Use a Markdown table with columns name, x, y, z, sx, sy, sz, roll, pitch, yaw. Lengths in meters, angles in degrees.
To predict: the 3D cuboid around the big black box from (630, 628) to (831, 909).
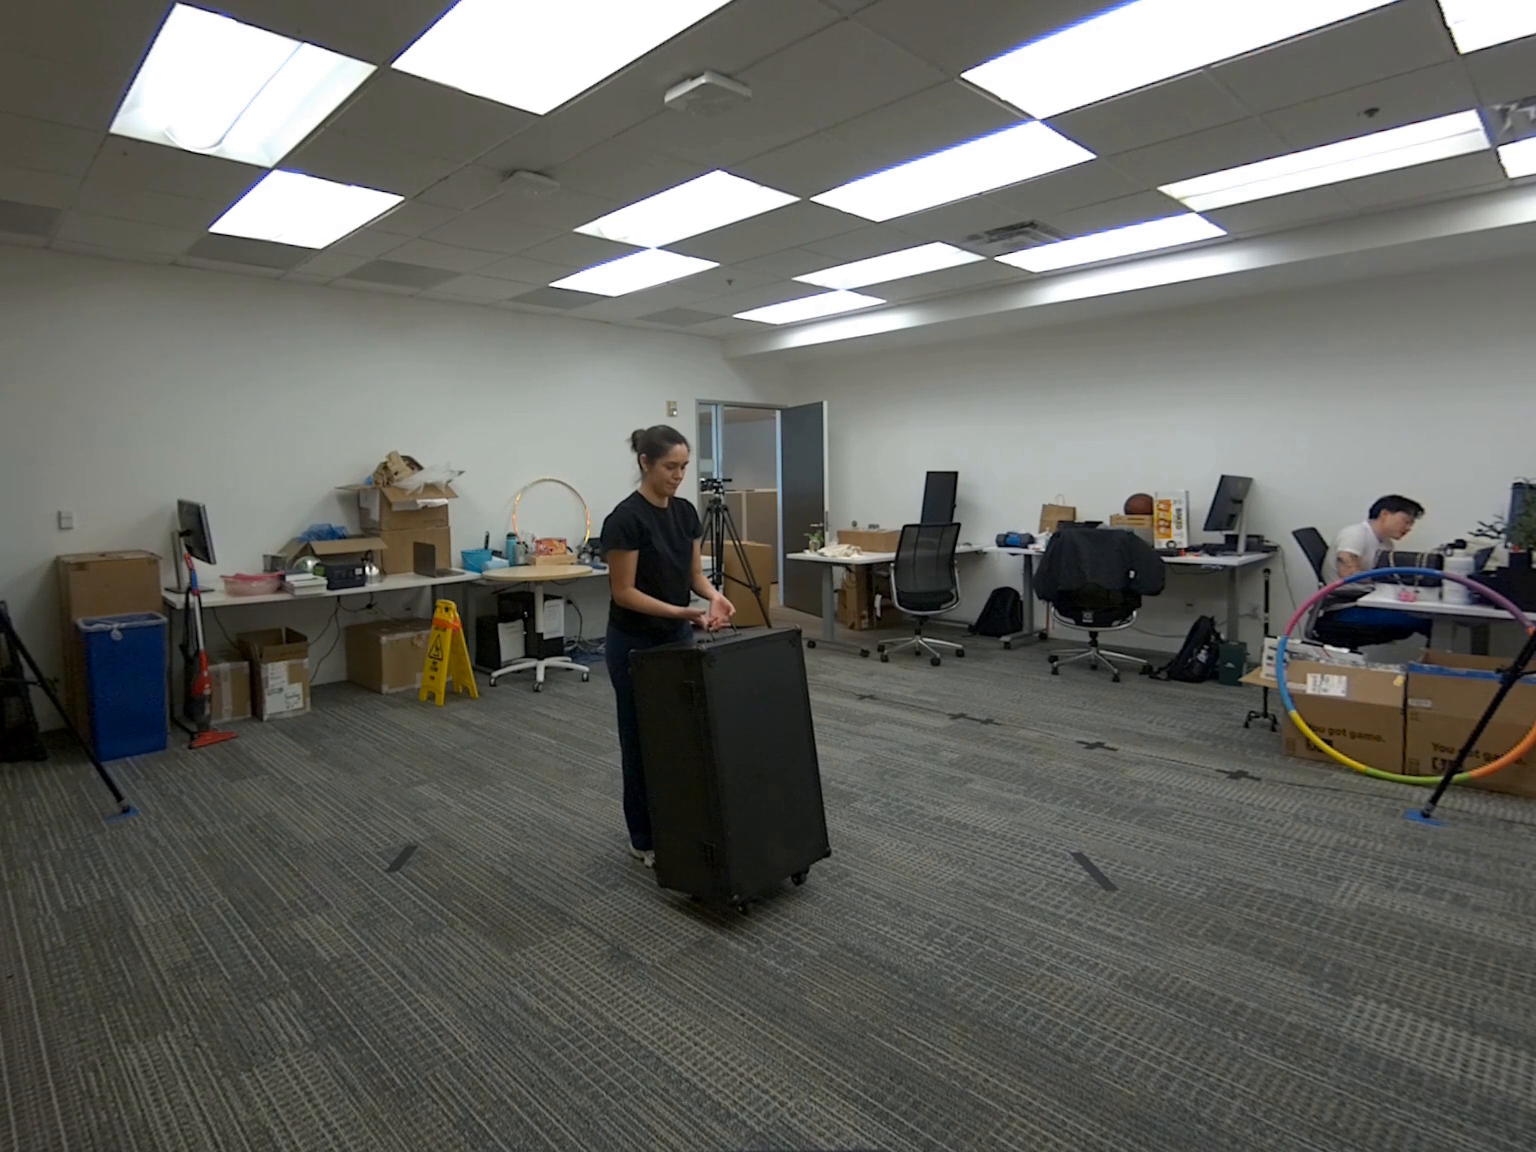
| name | x | y | z | sx | sy | sz | roll | pitch | yaw |
| --- | --- | --- | --- | --- | --- | --- | --- | --- | --- |
| big black box | -0.130 | 0.633 | 2.891 | 0.406 | 0.863 | 0.508 | -10 | -2 | 43 |
